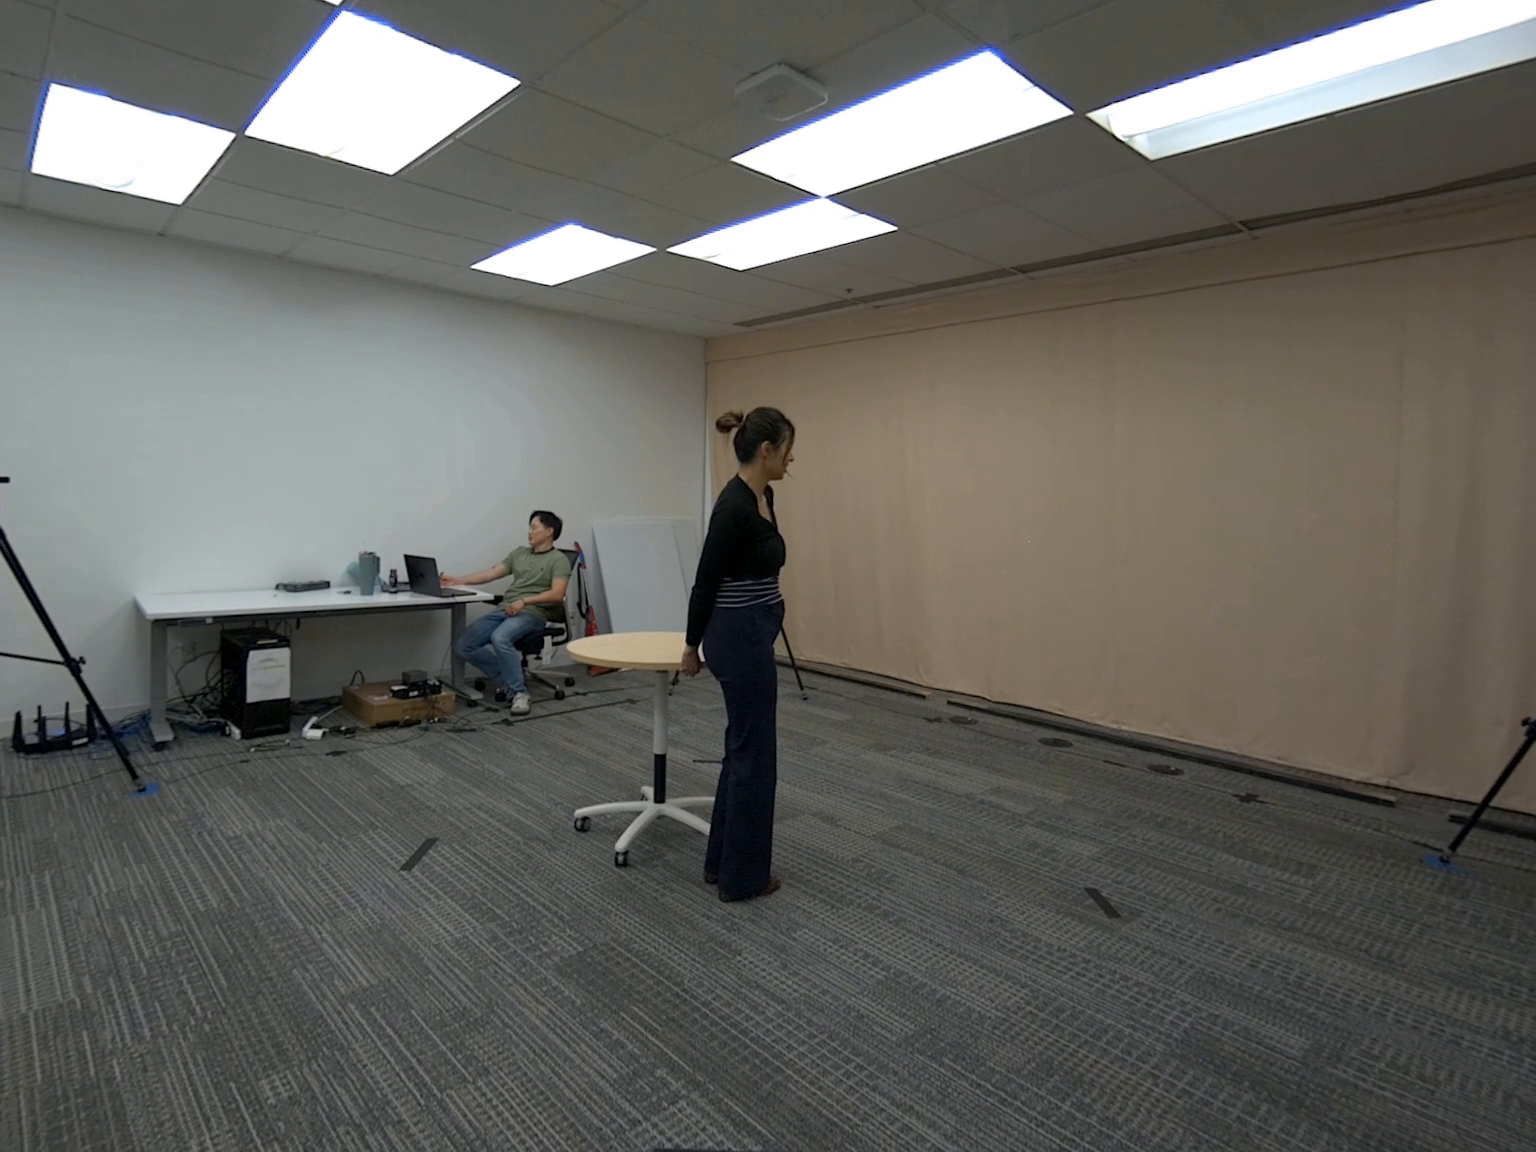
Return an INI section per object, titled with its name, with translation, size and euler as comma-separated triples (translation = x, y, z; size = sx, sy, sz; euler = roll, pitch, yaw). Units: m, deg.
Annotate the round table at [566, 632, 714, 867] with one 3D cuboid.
[round table]
translation = -0.448, 0.678, 3.430
size = 0.763, 0.792, 0.766
euler = 1, 3, -1
